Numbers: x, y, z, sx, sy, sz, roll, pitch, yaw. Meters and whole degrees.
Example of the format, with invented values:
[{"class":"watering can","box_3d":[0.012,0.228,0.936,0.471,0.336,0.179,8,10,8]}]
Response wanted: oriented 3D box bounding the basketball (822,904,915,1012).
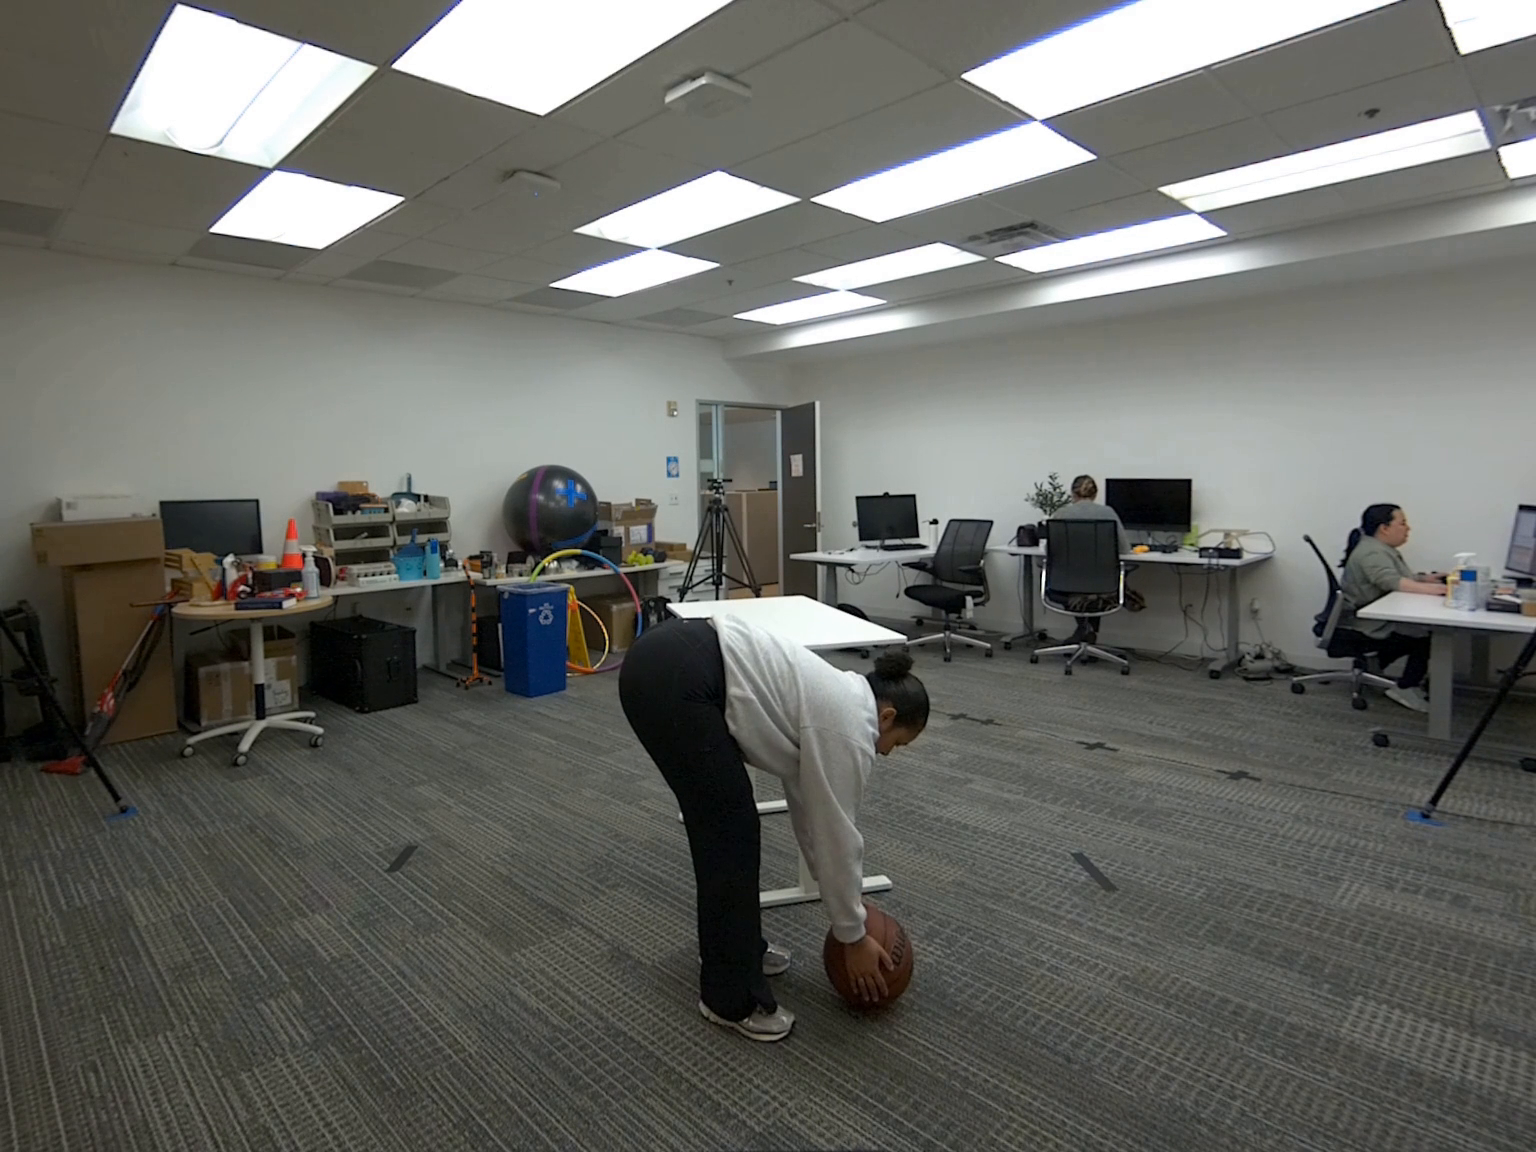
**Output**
[{"class":"basketball","box_3d":[0.270,1.002,2.274,0.236,0.235,0.237,-1,5,-2]}]
